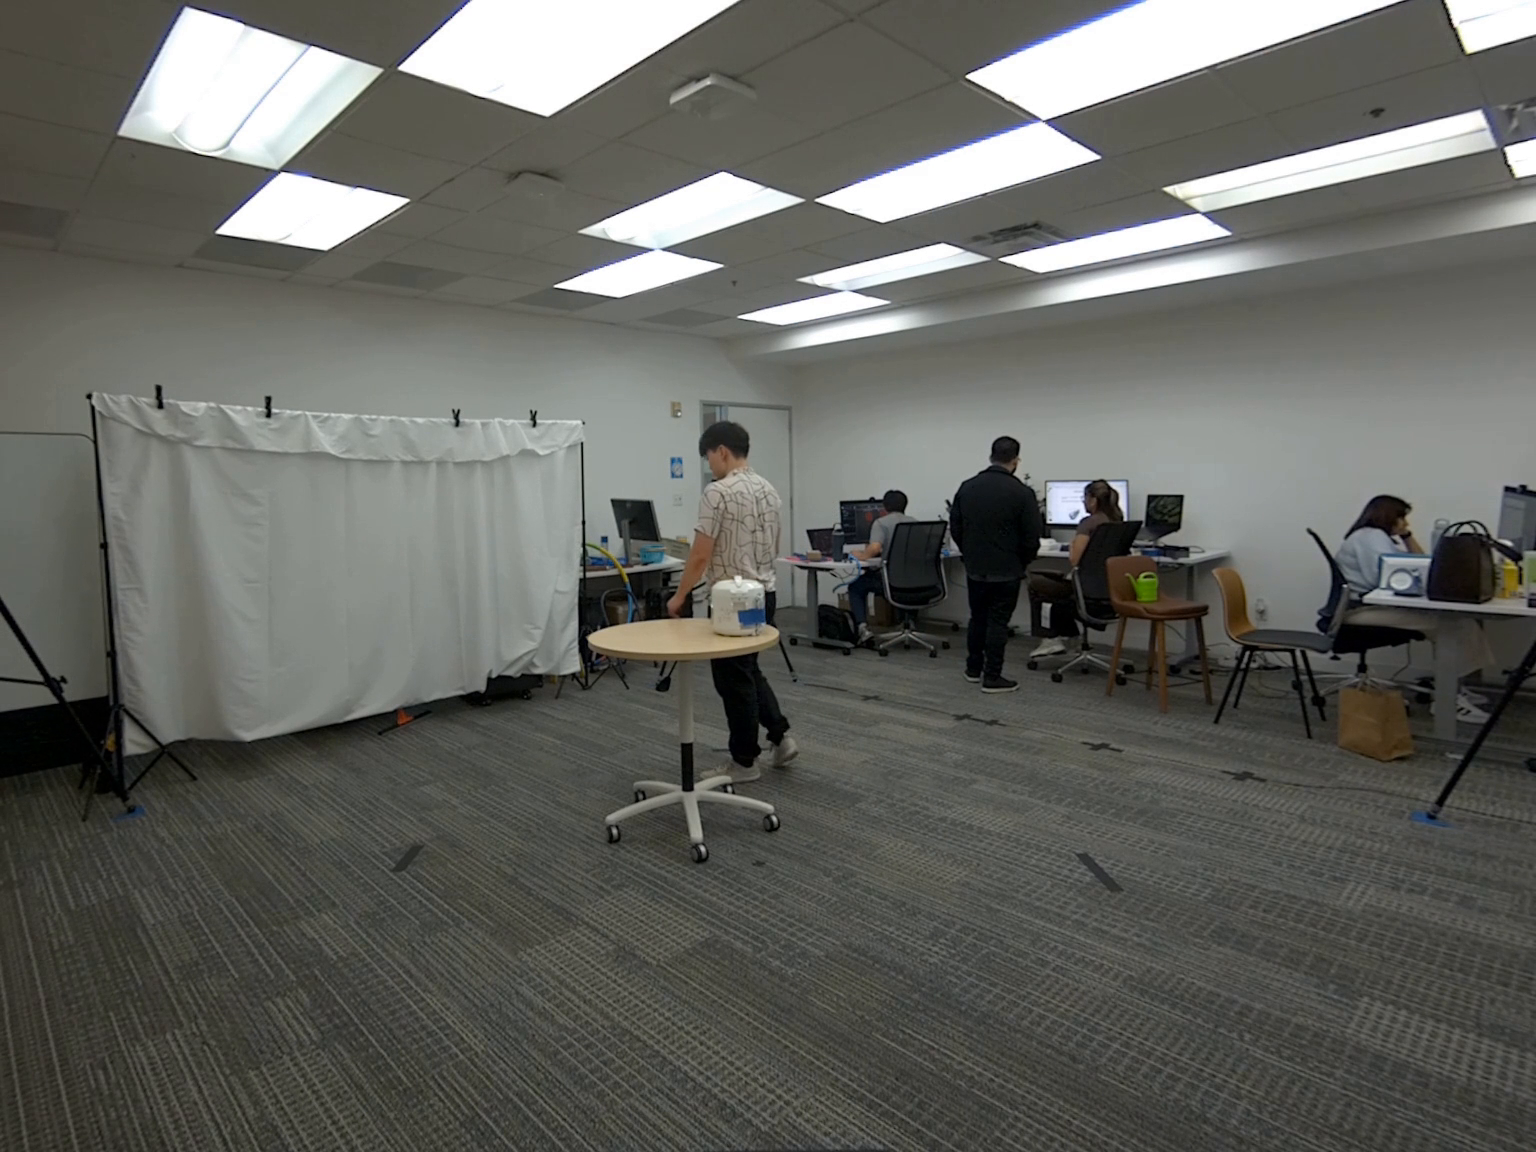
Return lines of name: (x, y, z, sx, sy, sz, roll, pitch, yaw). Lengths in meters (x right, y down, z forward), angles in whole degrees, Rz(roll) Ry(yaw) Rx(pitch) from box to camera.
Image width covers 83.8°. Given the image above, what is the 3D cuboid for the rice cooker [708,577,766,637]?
rice cooker: (-0.131, 0.114, 3.427, 0.217, 0.232, 0.222, -1, 5, -3)
